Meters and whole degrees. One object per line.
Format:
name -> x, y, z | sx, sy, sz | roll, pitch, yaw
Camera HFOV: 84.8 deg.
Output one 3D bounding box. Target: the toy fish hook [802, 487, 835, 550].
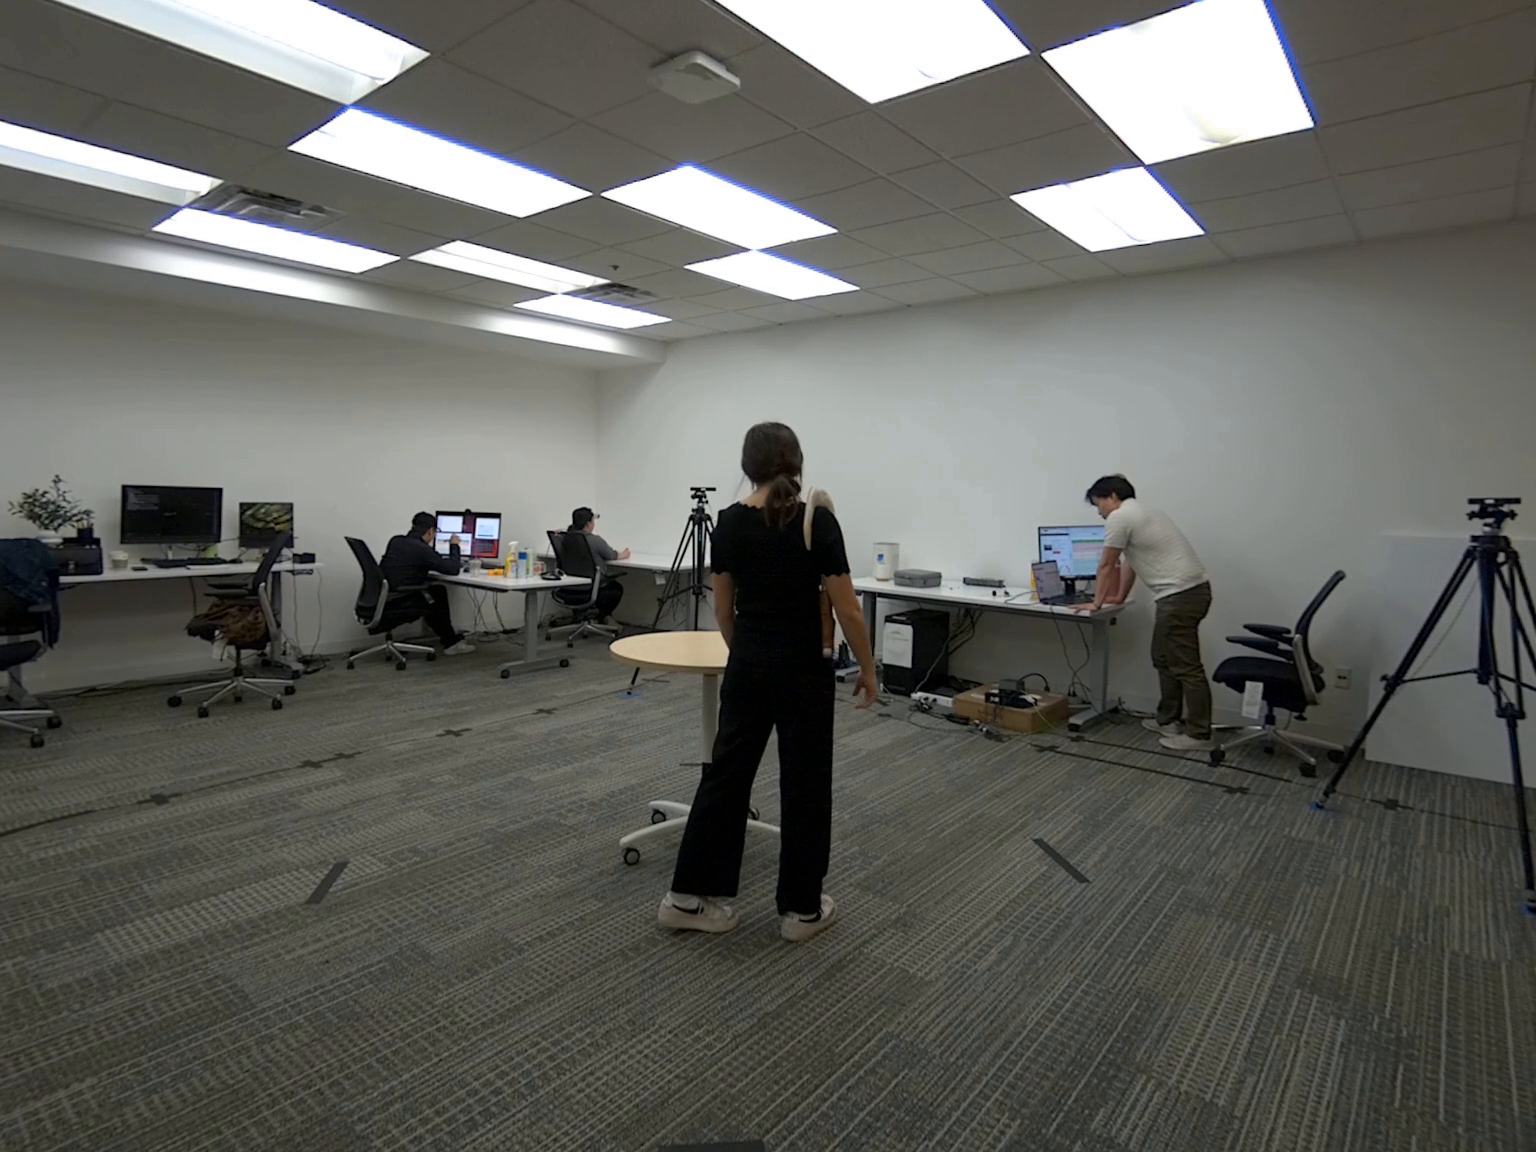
toy fish hook -> 0.142, -0.012, 2.517 | 0.049, 0.510, 0.217 | -5, -7, 30
